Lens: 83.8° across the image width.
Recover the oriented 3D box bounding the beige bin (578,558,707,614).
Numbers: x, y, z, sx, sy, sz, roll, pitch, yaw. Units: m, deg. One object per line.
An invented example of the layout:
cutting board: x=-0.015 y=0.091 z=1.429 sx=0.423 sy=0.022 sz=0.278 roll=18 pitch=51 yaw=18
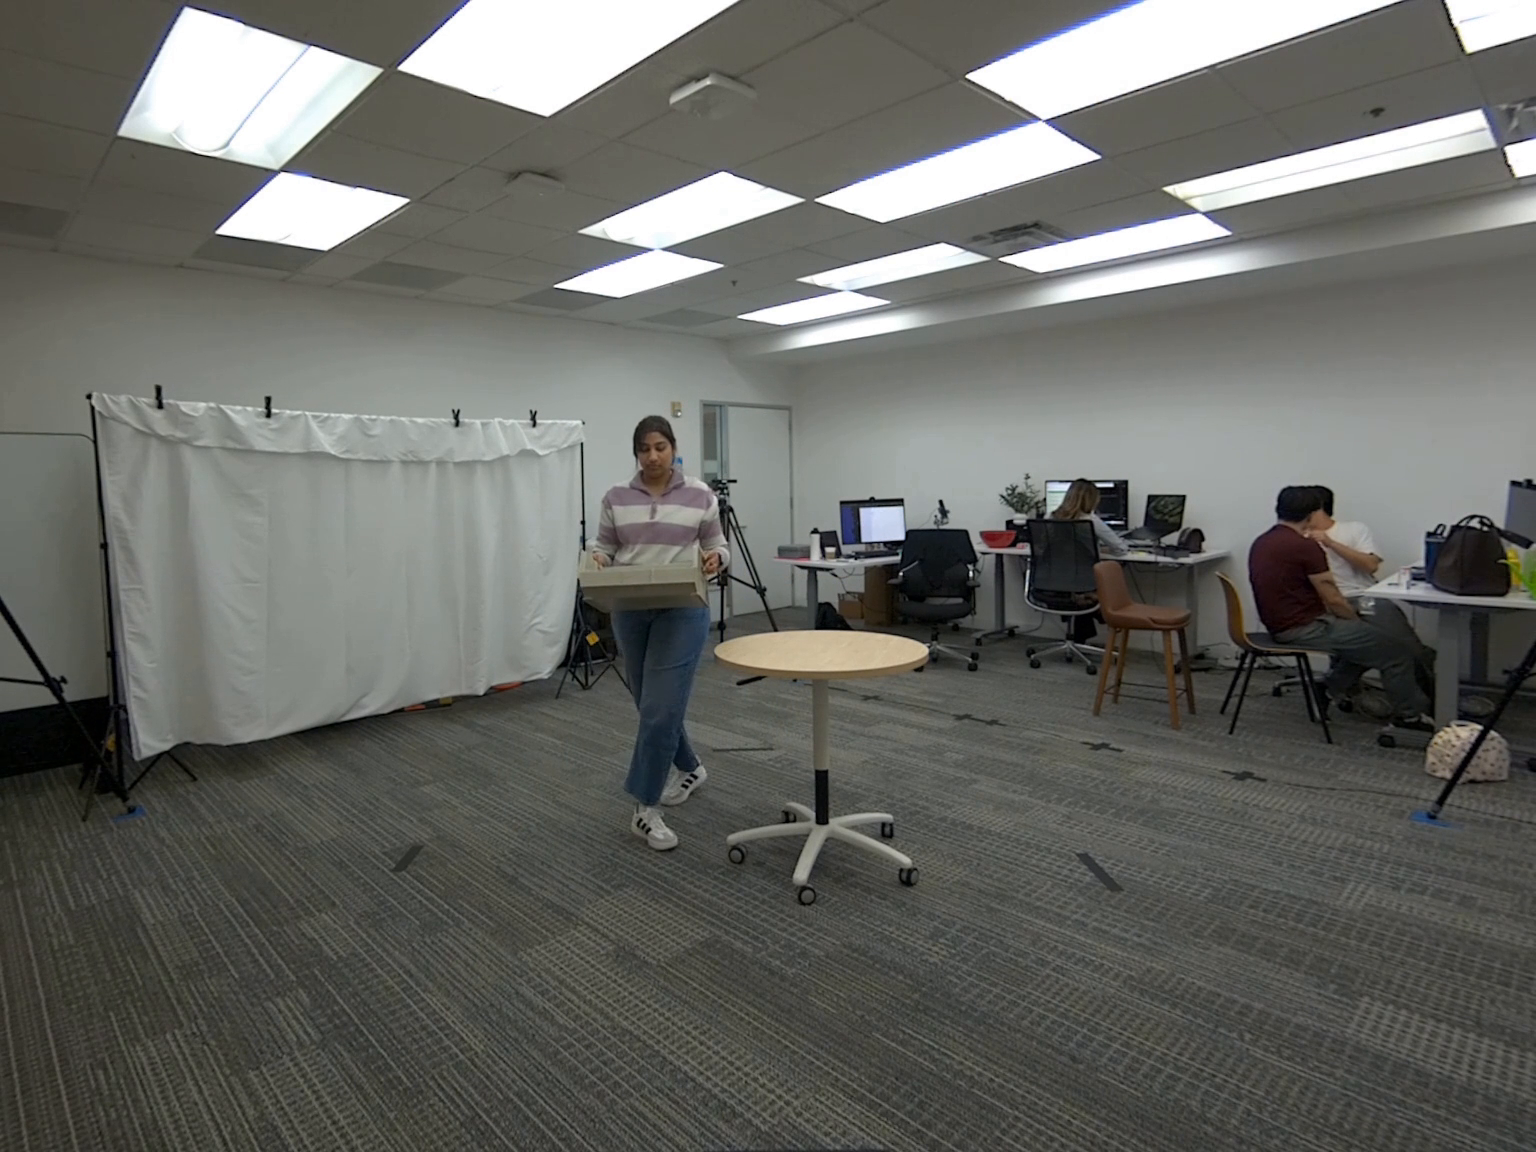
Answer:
beige bin: x=-0.445 y=0.020 z=3.110 sx=0.423 sy=0.191 sz=0.372 roll=-7 pitch=-10 yaw=2
